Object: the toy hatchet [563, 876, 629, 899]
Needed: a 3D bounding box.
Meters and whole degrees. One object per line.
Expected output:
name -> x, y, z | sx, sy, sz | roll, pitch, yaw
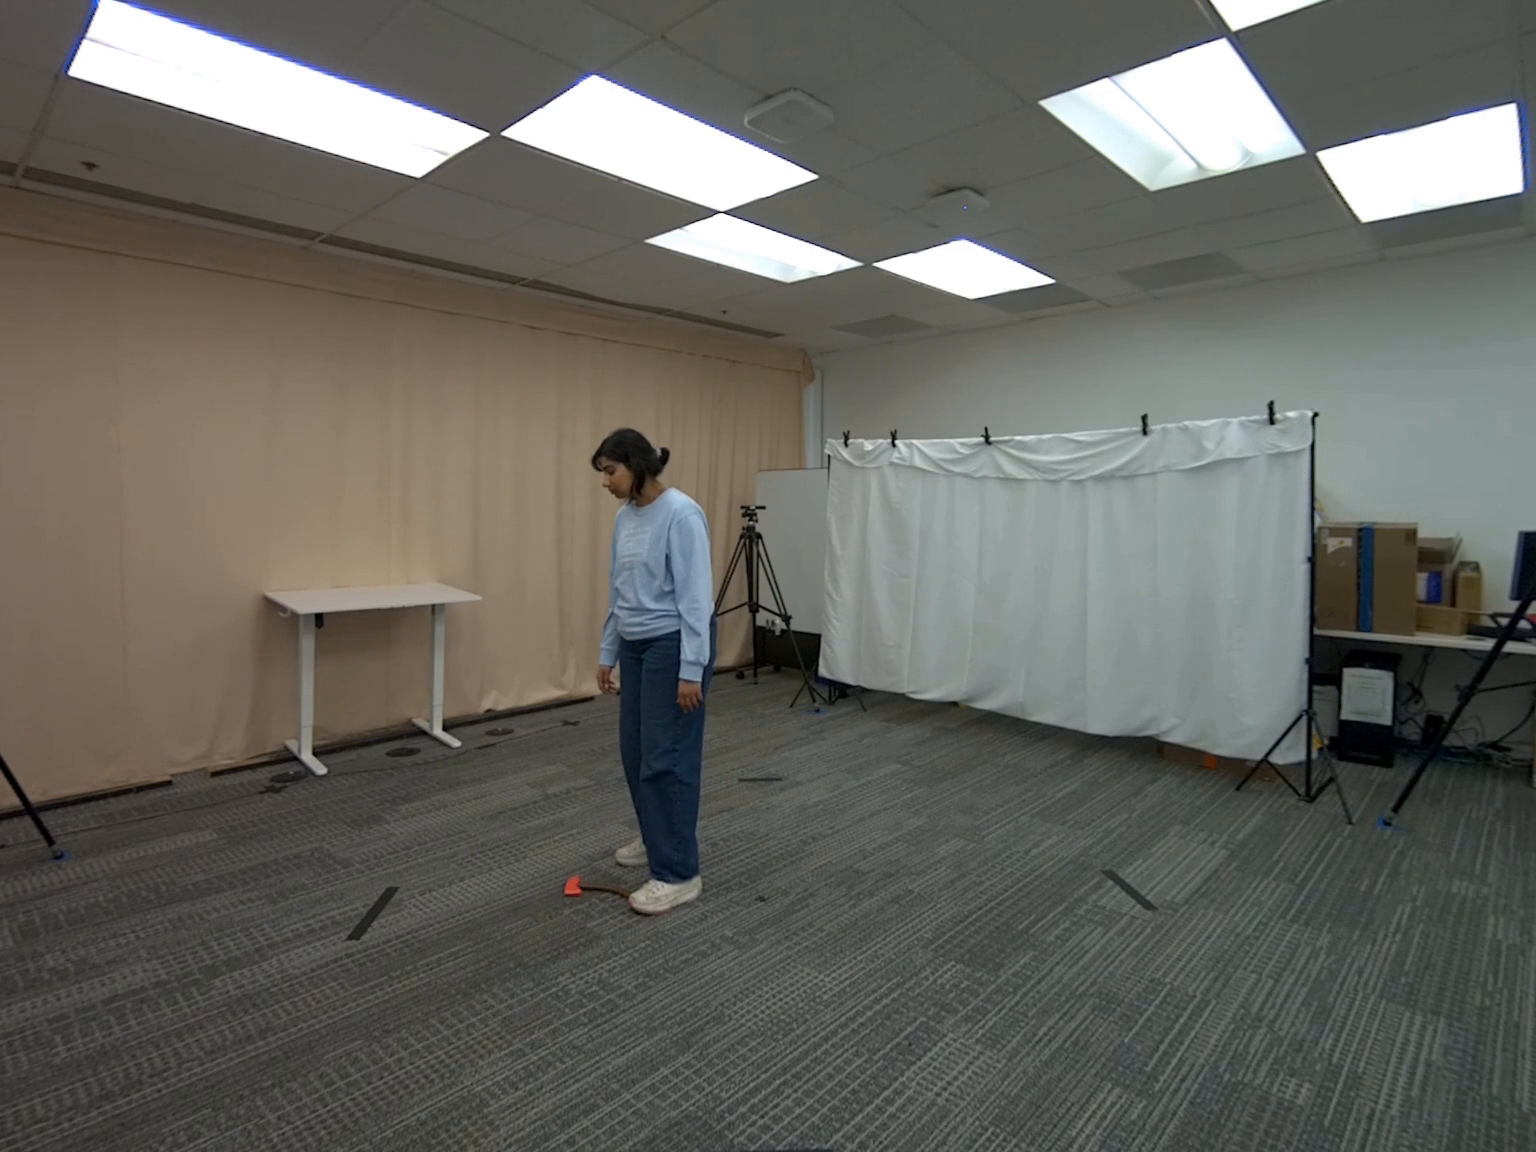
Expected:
toy hatchet -> -0.619, 1.134, 3.029 | 0.278, 0.029, 0.127 | 4, 5, 29
